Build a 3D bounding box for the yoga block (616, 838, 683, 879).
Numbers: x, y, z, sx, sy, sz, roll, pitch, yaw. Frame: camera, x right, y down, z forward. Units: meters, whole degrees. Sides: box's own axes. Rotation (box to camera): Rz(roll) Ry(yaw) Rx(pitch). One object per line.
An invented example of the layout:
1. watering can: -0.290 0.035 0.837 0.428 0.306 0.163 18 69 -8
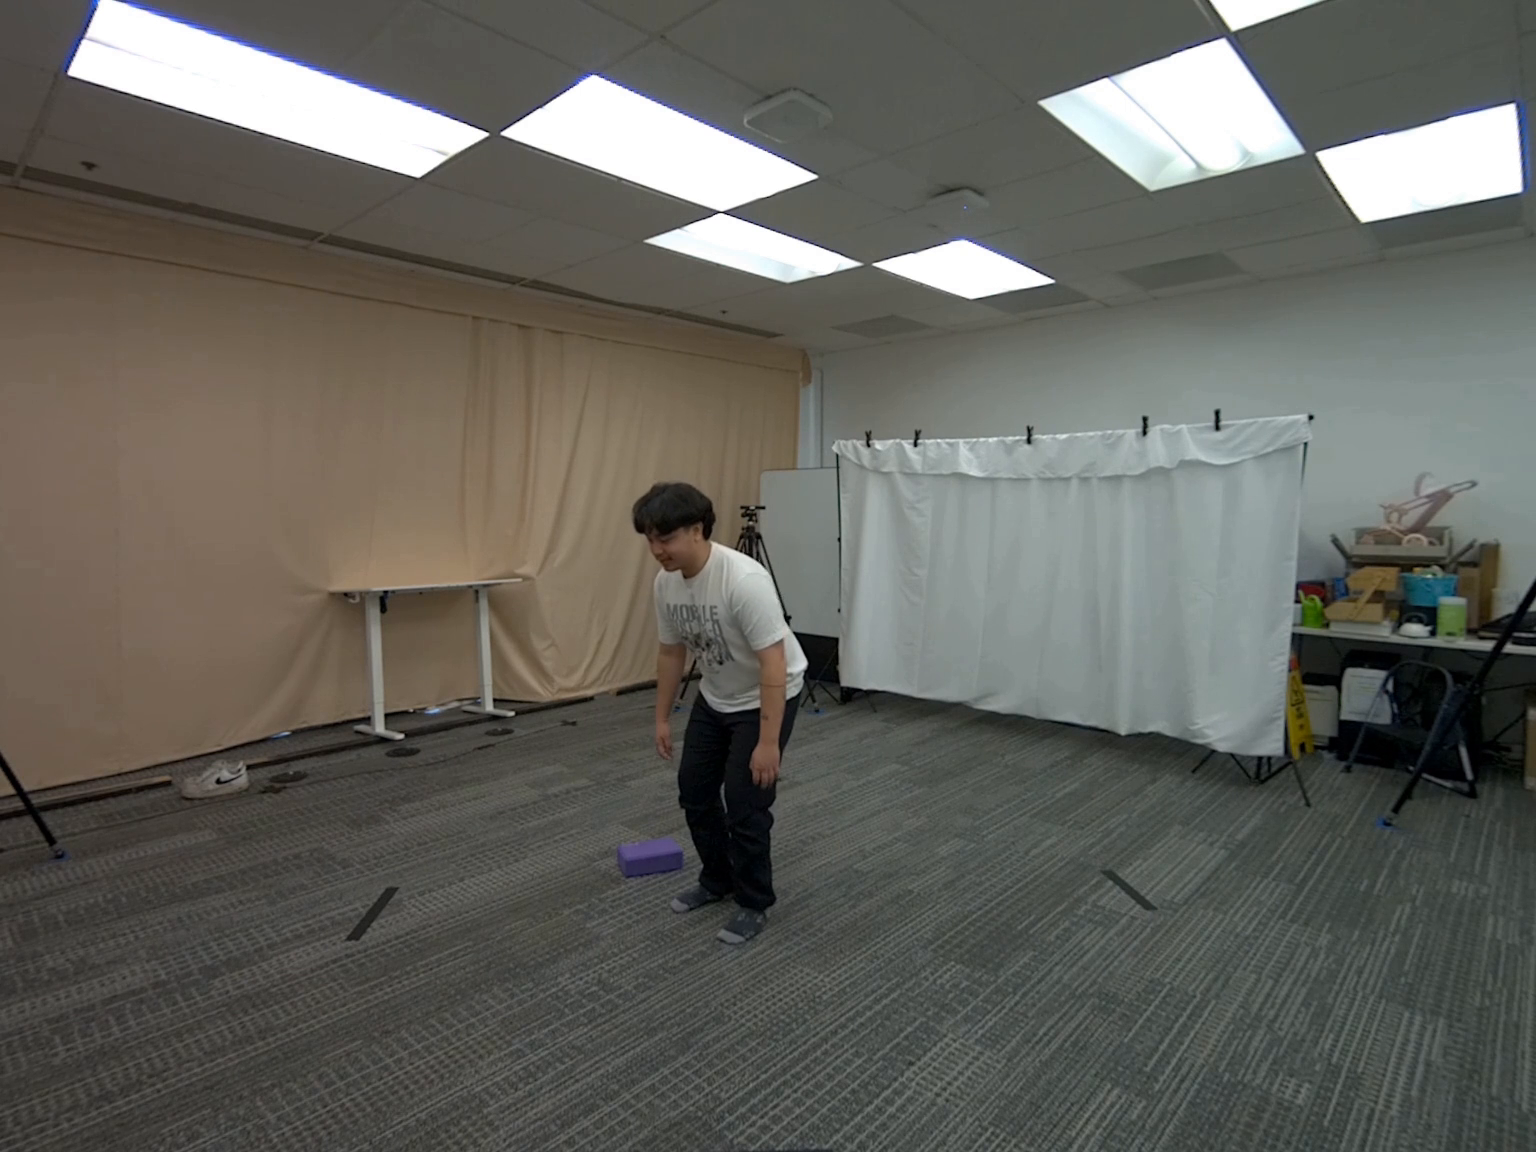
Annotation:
1. yoga block: -0.457 1.085 3.255 0.225 0.076 0.152 -3 5 -20
